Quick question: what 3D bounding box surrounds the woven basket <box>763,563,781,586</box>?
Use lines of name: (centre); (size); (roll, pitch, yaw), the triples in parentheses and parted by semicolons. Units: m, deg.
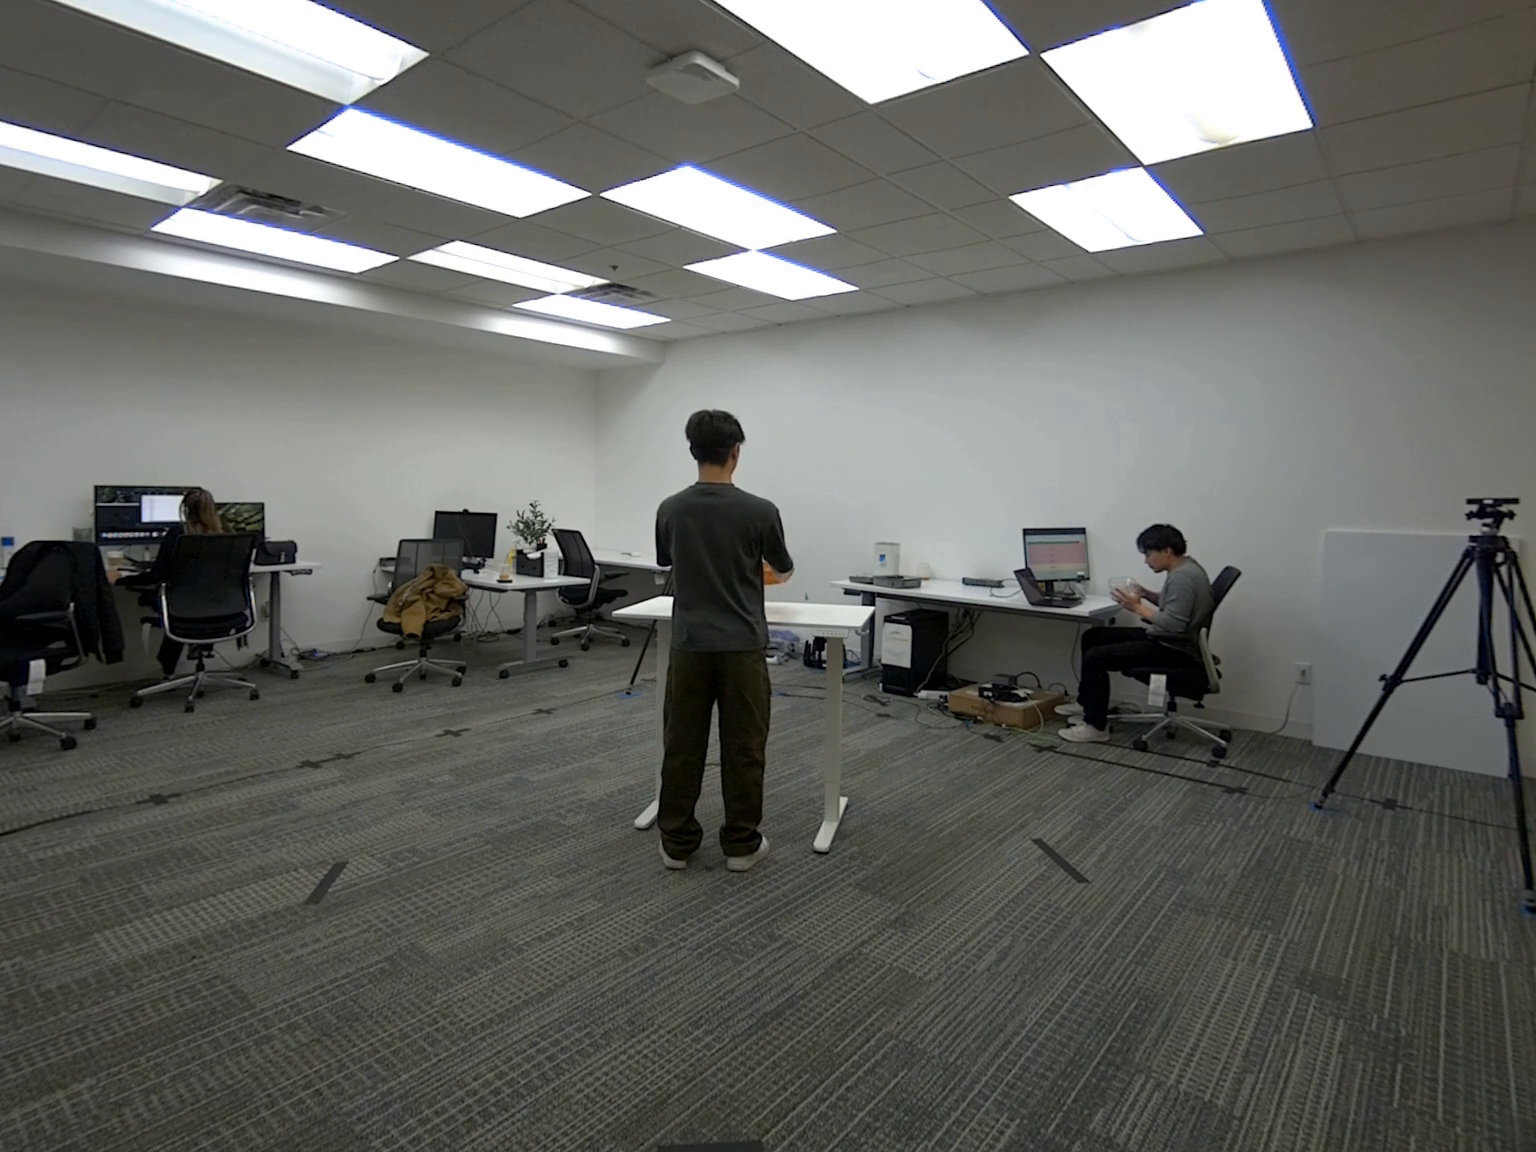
woven basket: (-0.079, -0.017, 3.624); (0.361, 0.073, 0.246); (4, 7, 32)
